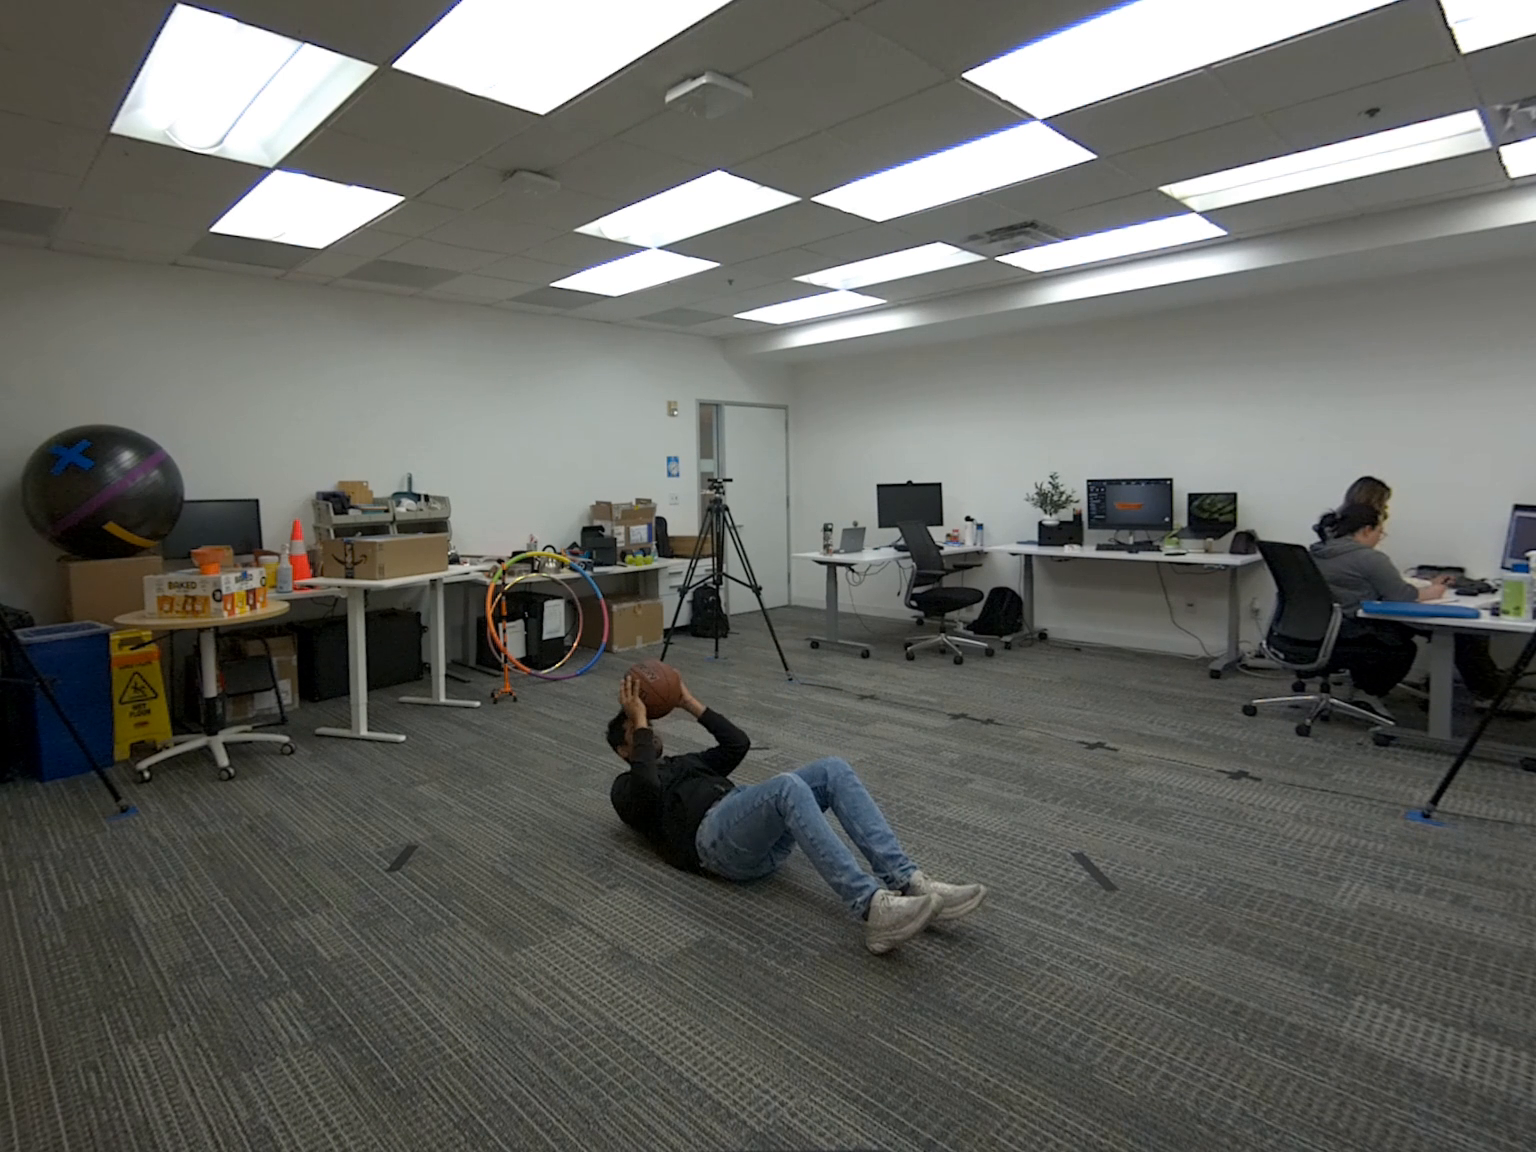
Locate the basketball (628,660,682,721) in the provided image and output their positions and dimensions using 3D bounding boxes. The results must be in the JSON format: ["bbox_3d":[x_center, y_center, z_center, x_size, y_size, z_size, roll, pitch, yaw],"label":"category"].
[{"bbox_3d":[-0.462,0.455,3.414,0.236,0.235,0.237,-1,5,-2],"label":"basketball"}]
